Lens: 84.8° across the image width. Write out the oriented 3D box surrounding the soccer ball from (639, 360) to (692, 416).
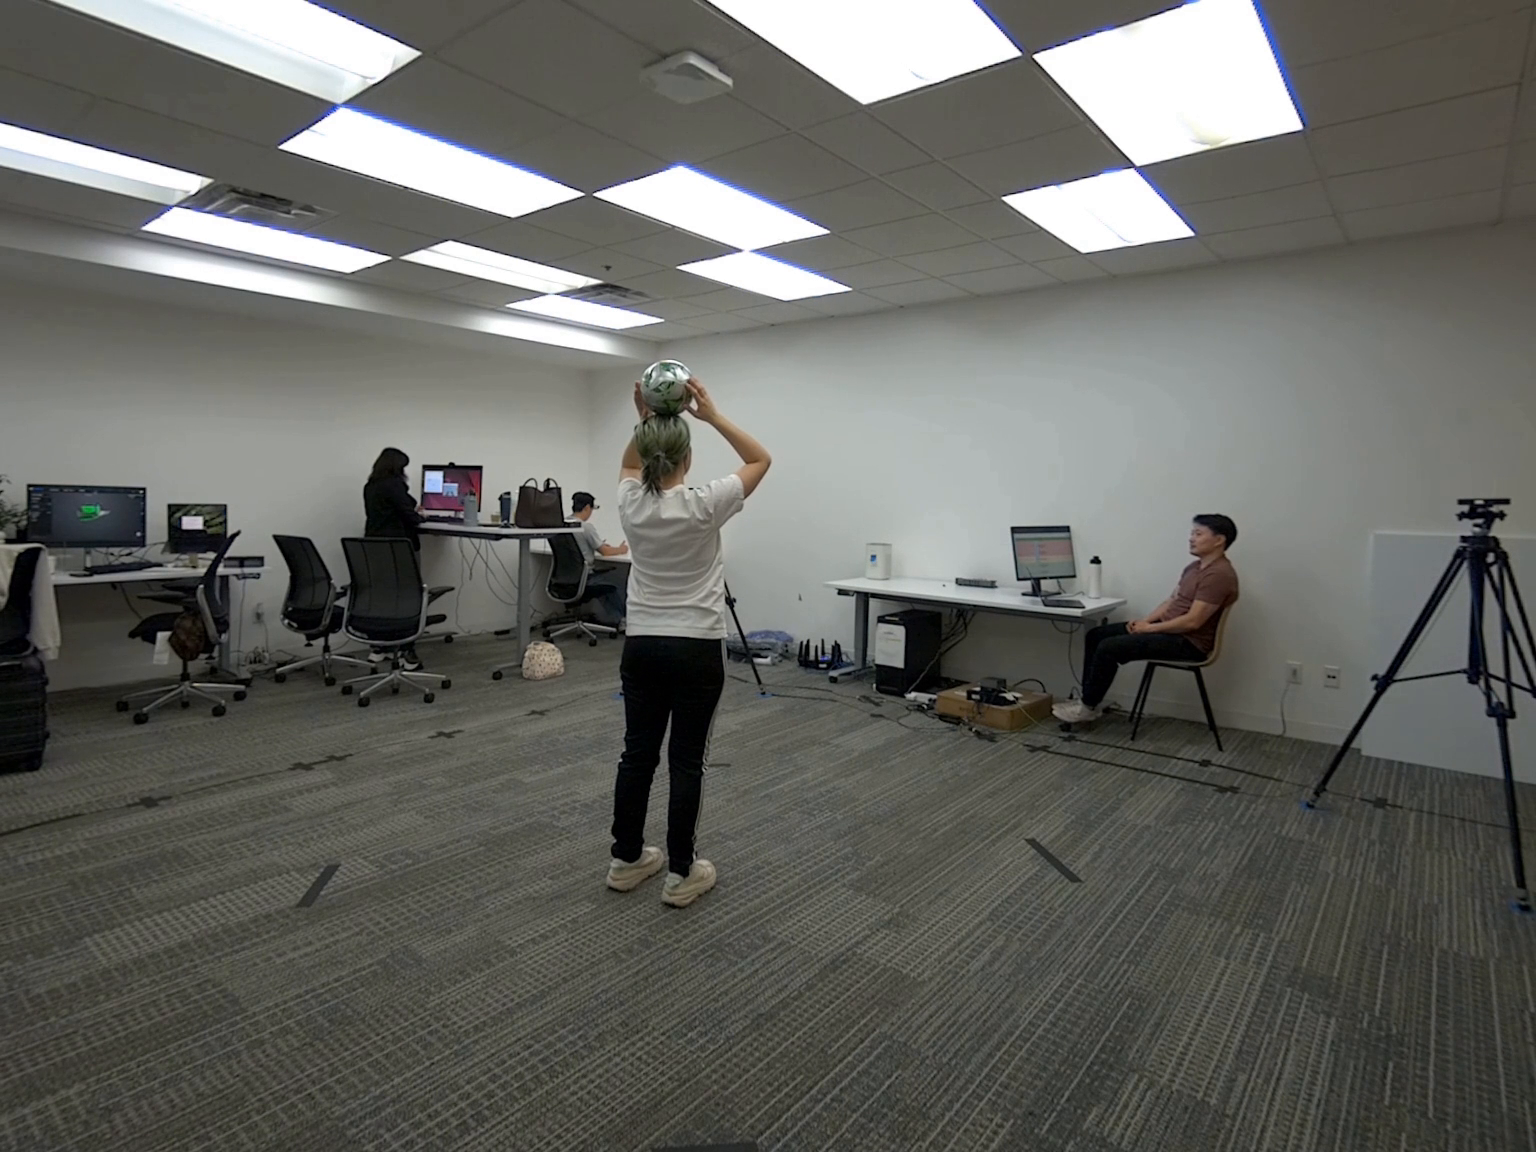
[{"bbox_3d":[-0.353,-0.638,2.883,0.187,0.187,0.188,1,4,-2],"label":"soccer ball"}]
